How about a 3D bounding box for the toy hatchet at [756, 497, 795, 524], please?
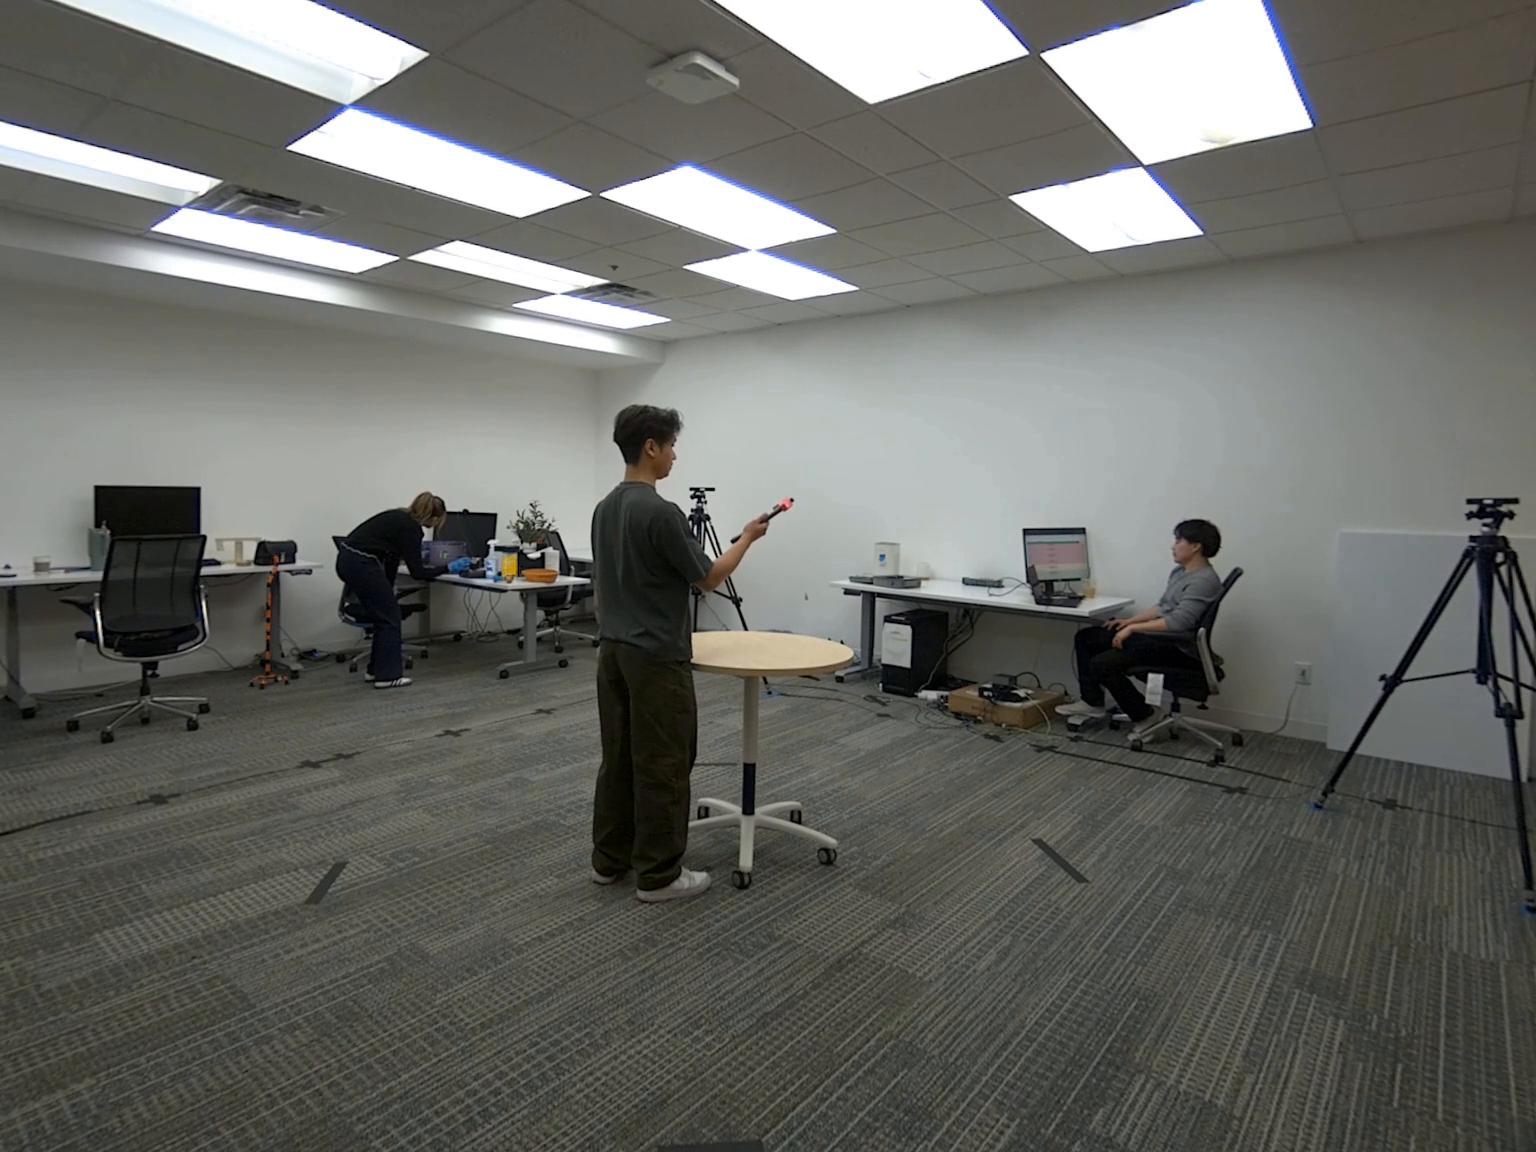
[{"bbox_3d":[-0.028,-0.213,3.074,0.273,0.029,0.132,-28,18,23],"label":"toy hatchet"}]
